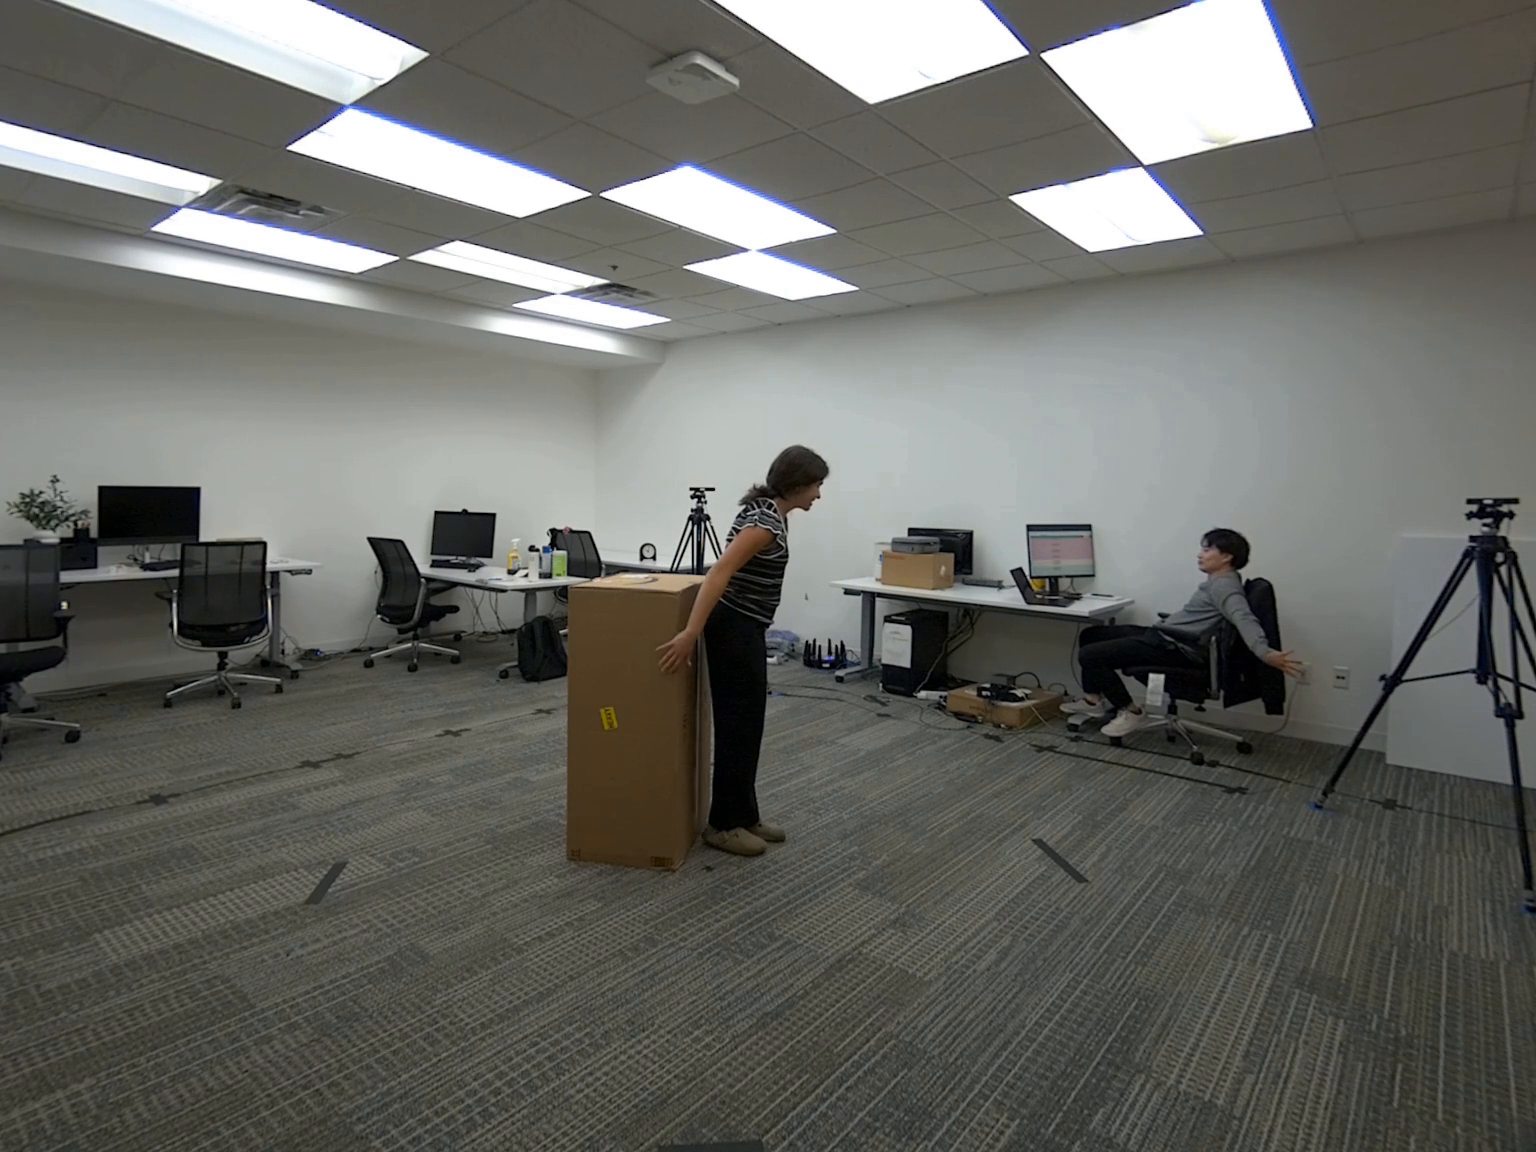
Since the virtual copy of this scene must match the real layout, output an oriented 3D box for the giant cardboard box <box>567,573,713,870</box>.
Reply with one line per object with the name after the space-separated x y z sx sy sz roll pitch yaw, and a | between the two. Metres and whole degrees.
-0.502 0.526 3.367 0.431 1.023 0.573 2 4 9 | giant cardboard box
